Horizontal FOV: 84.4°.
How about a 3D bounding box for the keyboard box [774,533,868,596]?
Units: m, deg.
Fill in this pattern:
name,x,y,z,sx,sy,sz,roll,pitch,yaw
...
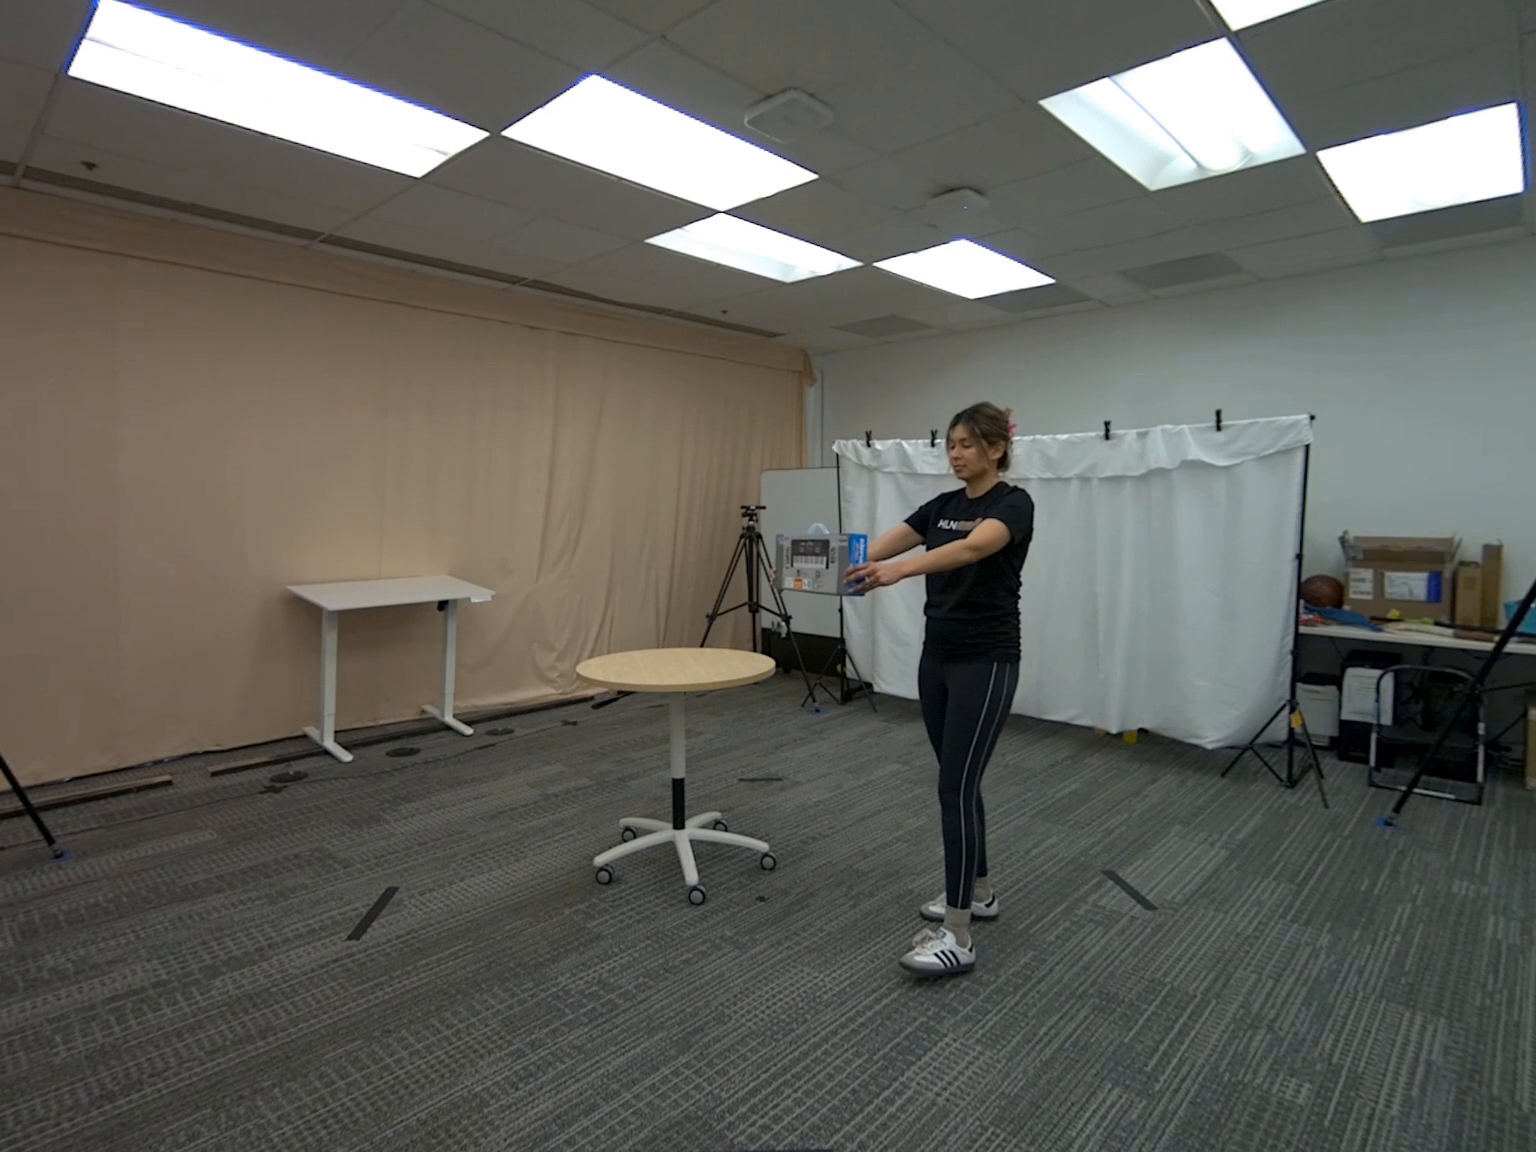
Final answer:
name,x,y,z,sx,sy,sz,roll,pitch,yaw
keyboard box,0.152,-0.031,2.498,0.057,0.176,0.448,1,1,-27
